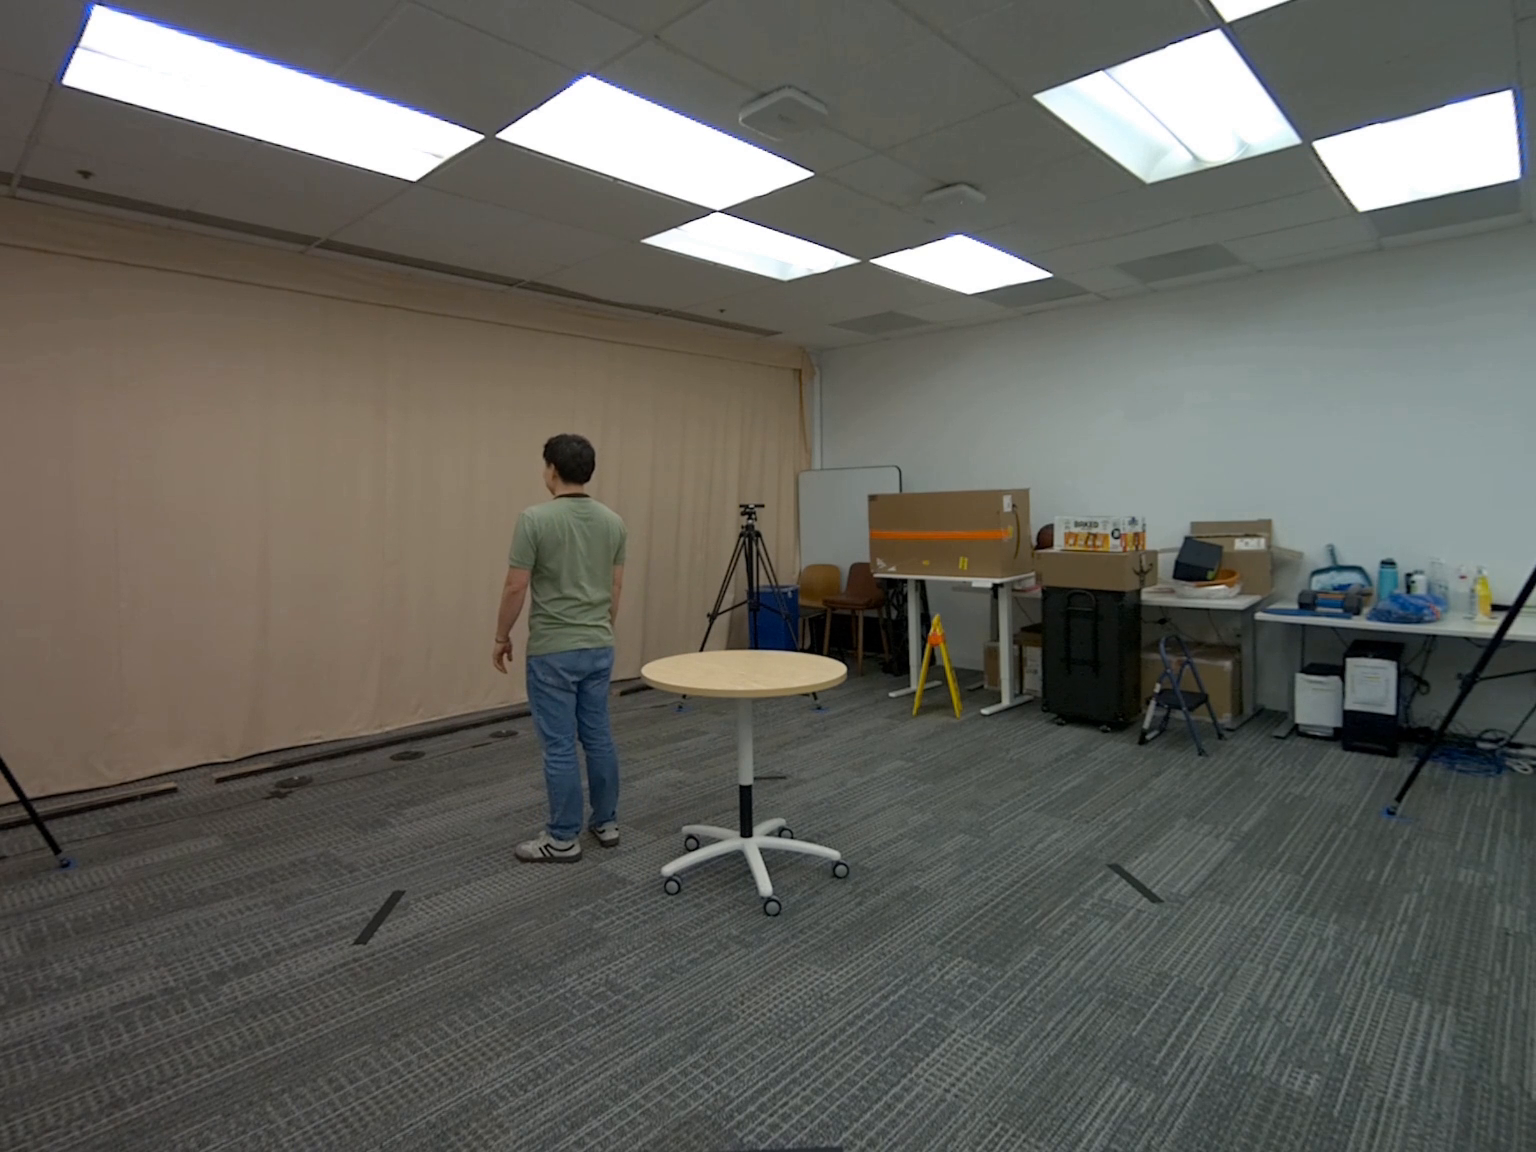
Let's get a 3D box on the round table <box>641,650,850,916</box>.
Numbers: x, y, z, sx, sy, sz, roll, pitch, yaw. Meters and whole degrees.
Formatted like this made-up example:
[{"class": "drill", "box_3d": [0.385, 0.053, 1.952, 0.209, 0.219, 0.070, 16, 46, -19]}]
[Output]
[{"class": "round table", "box_3d": [-0.081, 0.736, 3.170, 0.763, 0.792, 0.767, -1, 4, -2]}]
